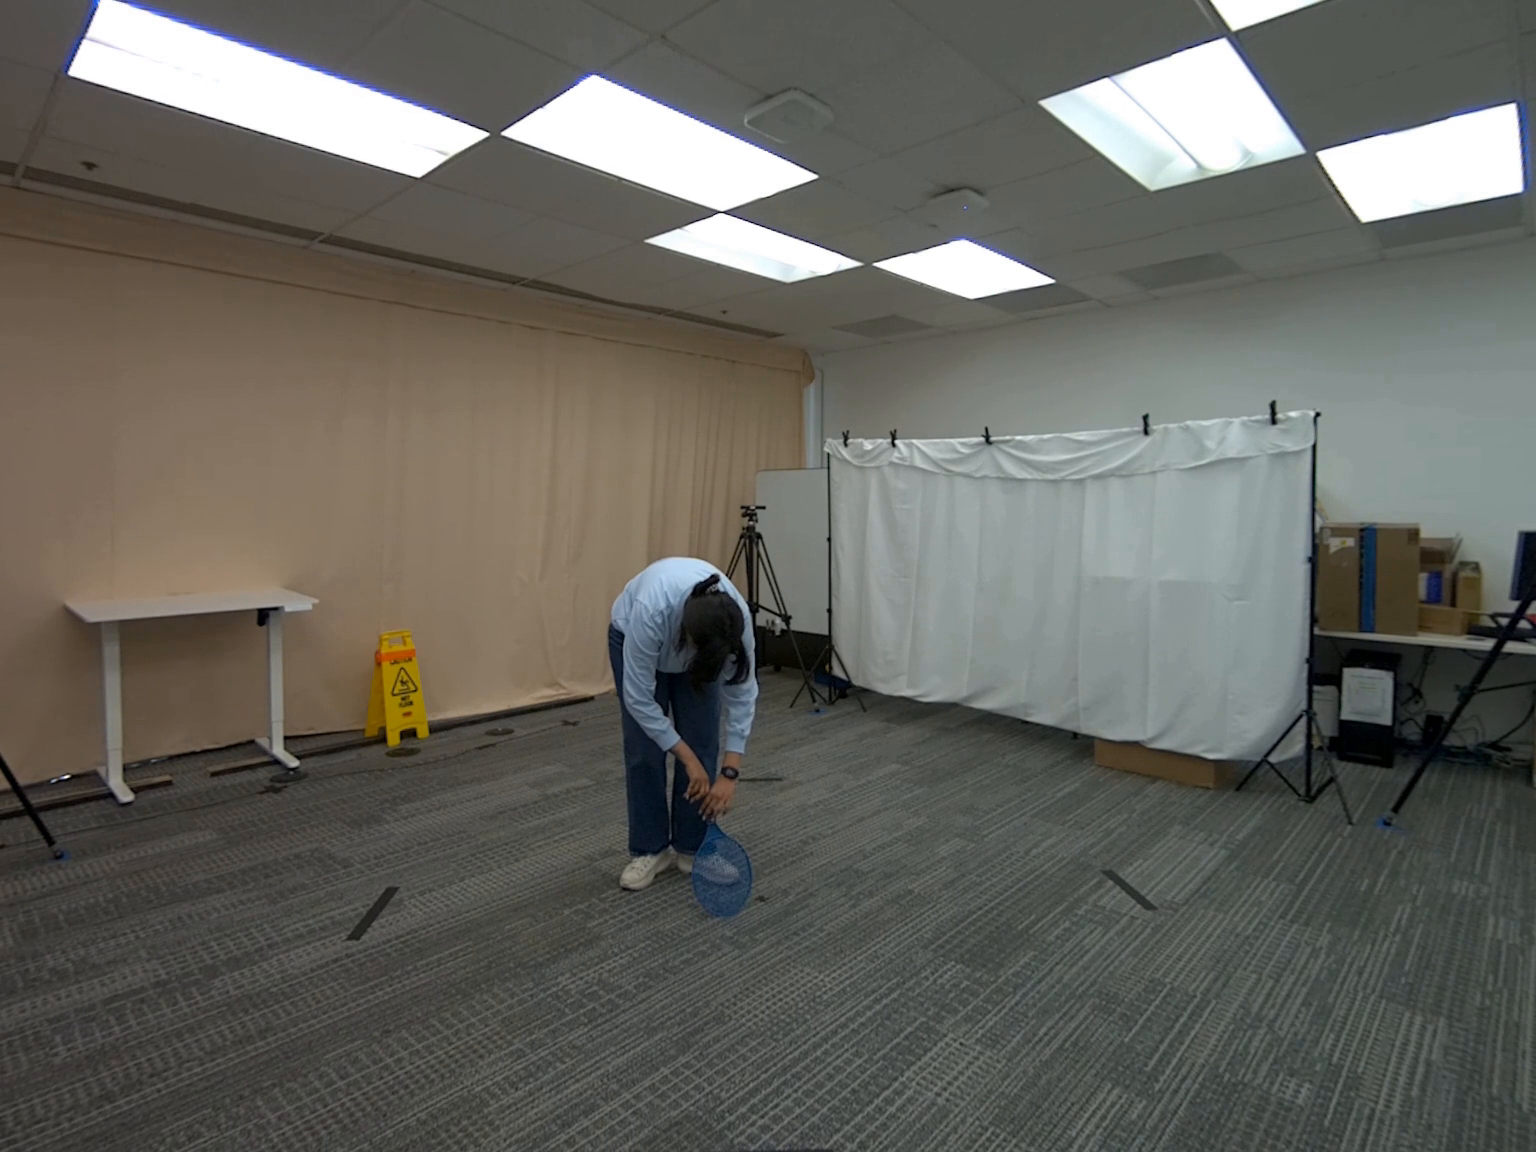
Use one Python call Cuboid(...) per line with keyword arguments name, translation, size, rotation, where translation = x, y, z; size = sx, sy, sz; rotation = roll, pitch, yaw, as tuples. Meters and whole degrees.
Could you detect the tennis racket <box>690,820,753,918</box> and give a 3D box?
Cuboid(name="tennis racket", translation=(-0.167, 0.939, 2.883), size=(0.211, 0.435, 0.032), rotation=(-12, -5, -16))
